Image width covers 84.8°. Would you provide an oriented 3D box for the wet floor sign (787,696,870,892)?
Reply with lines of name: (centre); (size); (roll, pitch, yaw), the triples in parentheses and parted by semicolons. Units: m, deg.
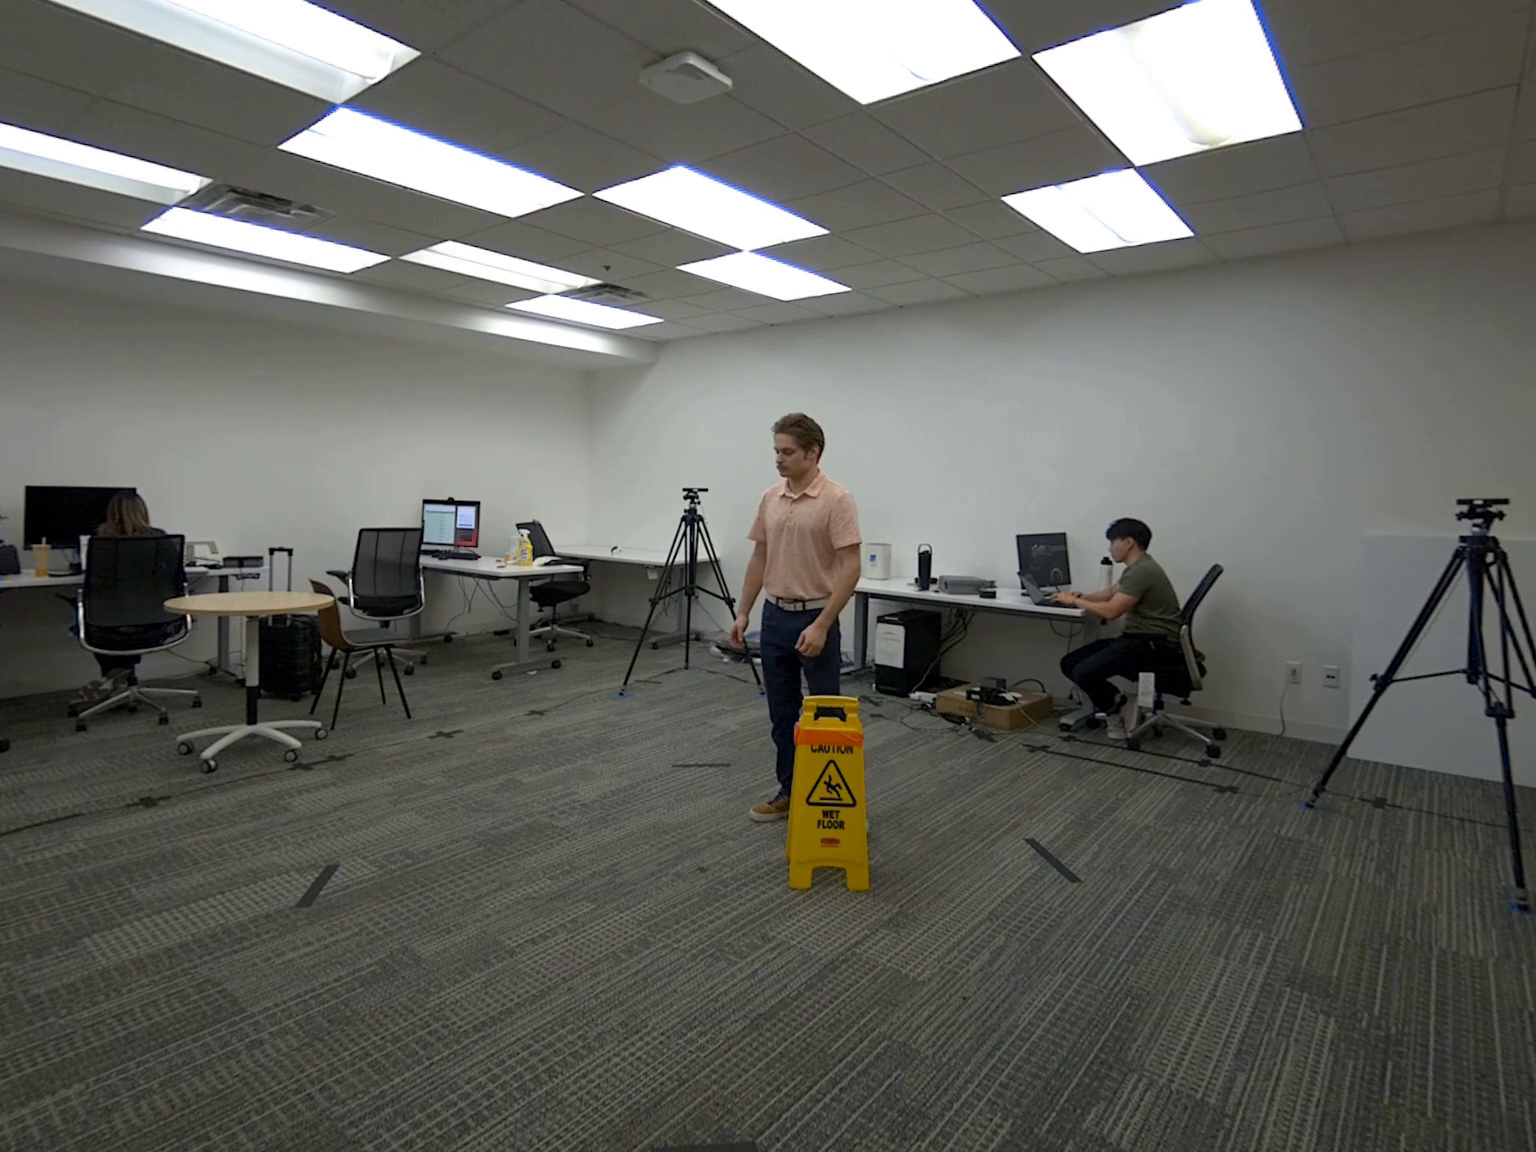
wet floor sign: (0.210, 0.755, 3.074); (0.282, 0.643, 0.291); (0, 4, -1)
